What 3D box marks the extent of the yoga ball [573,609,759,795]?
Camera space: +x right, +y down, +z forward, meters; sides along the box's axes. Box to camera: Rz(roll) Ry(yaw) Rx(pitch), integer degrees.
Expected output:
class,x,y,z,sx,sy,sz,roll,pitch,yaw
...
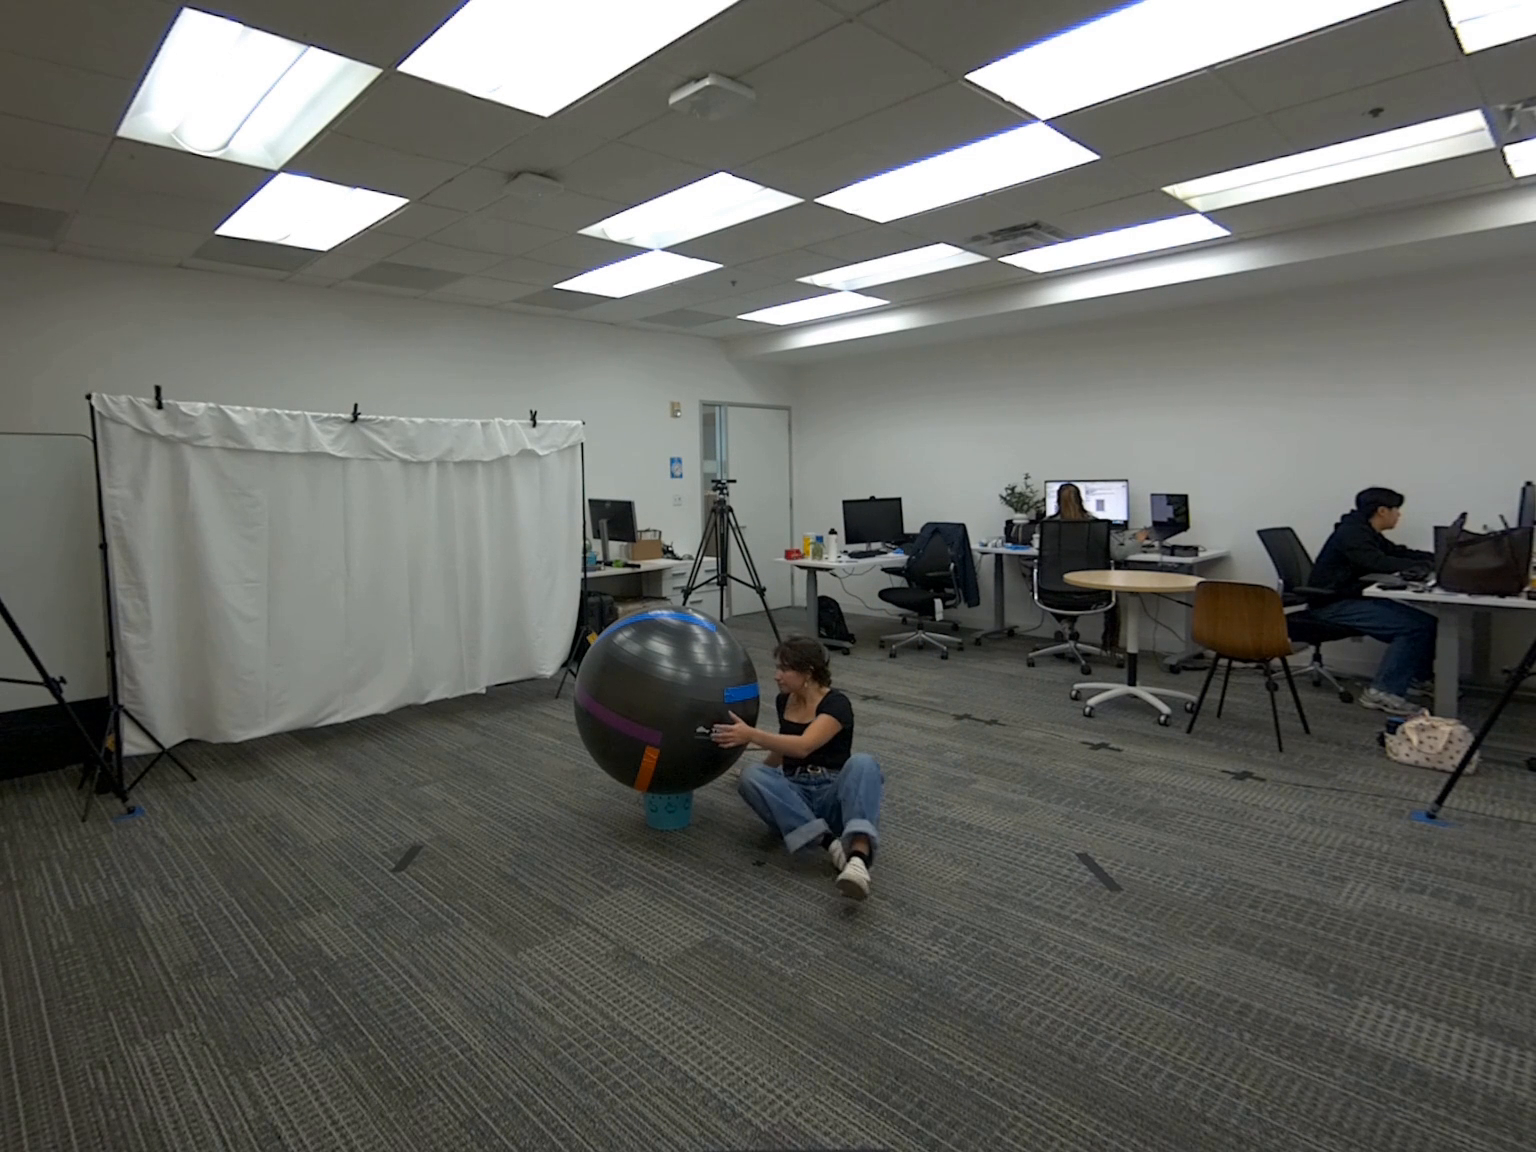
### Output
class,x,y,z,sx,sy,sz,roll,pitch,yaw
yoga ball,-0.416,0.501,3.498,0.757,0.755,0.762,-1,5,-2
